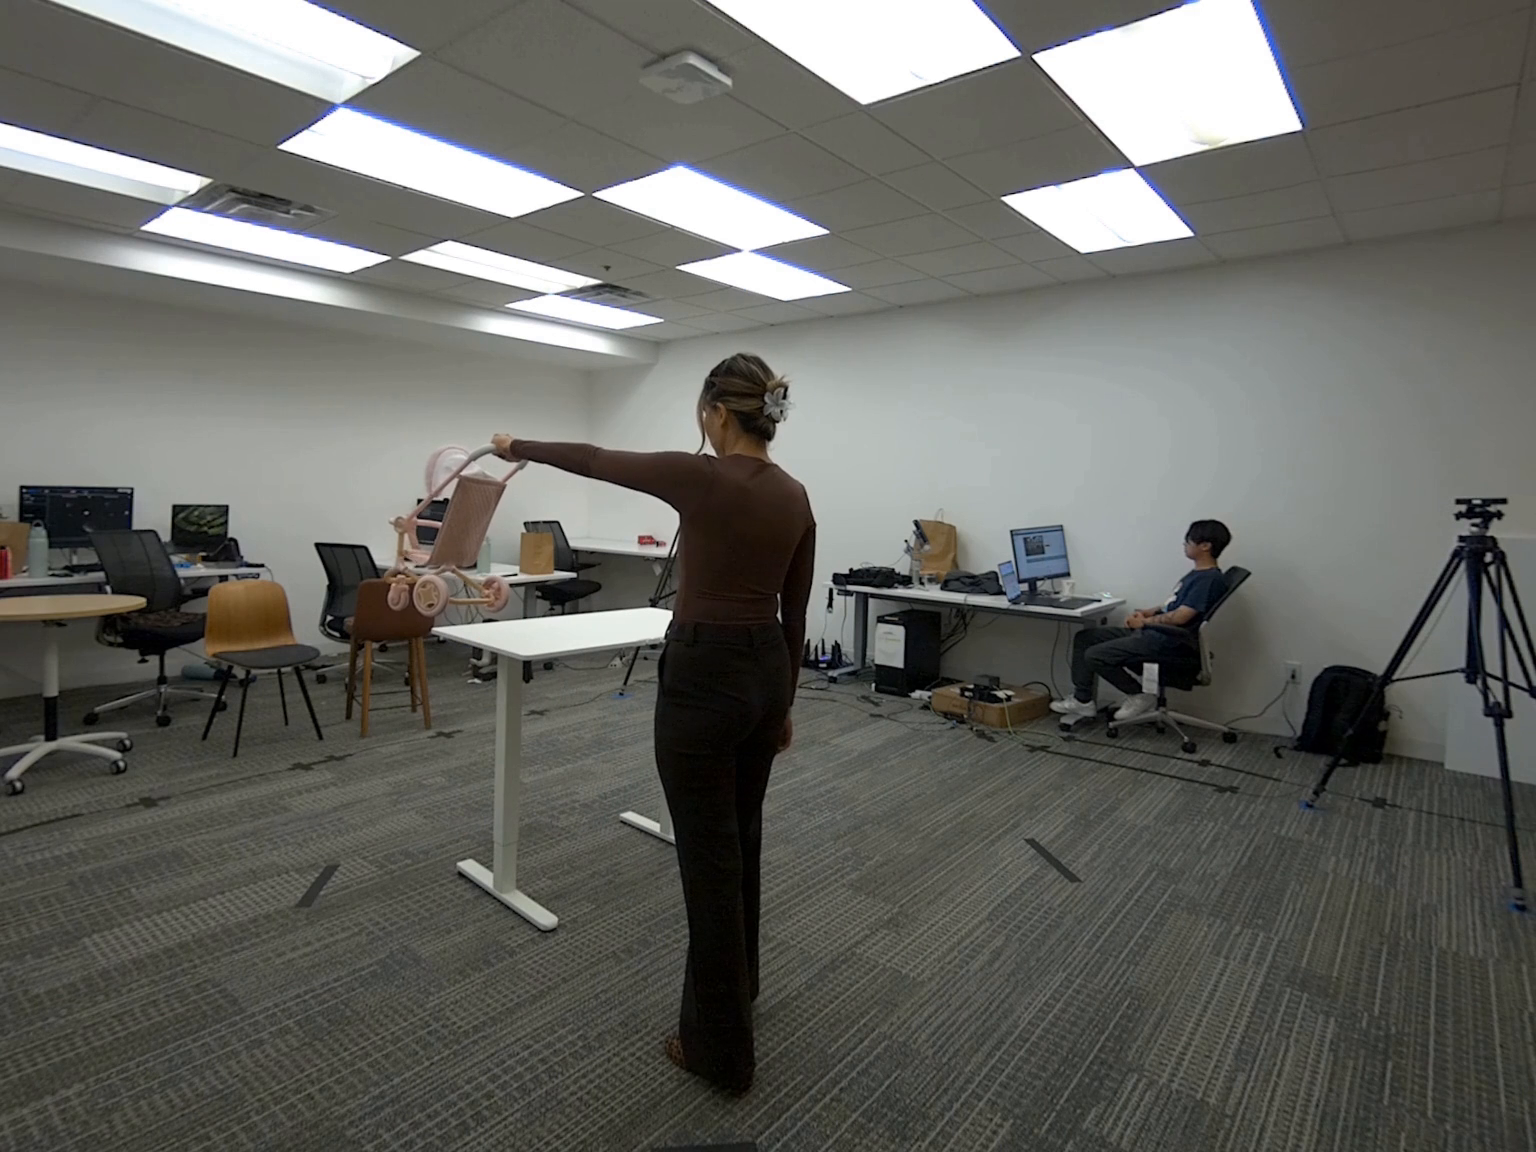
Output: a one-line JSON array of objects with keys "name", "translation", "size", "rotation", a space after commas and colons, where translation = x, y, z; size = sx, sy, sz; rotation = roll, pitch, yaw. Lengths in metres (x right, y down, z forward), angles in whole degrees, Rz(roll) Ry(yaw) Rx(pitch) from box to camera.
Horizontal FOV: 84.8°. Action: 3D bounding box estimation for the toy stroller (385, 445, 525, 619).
[{"name": "toy stroller", "translation": [-0.904, -0.123, 2.373], "size": [0.352, 0.533, 0.273], "rotation": [15, 4, 28]}]
